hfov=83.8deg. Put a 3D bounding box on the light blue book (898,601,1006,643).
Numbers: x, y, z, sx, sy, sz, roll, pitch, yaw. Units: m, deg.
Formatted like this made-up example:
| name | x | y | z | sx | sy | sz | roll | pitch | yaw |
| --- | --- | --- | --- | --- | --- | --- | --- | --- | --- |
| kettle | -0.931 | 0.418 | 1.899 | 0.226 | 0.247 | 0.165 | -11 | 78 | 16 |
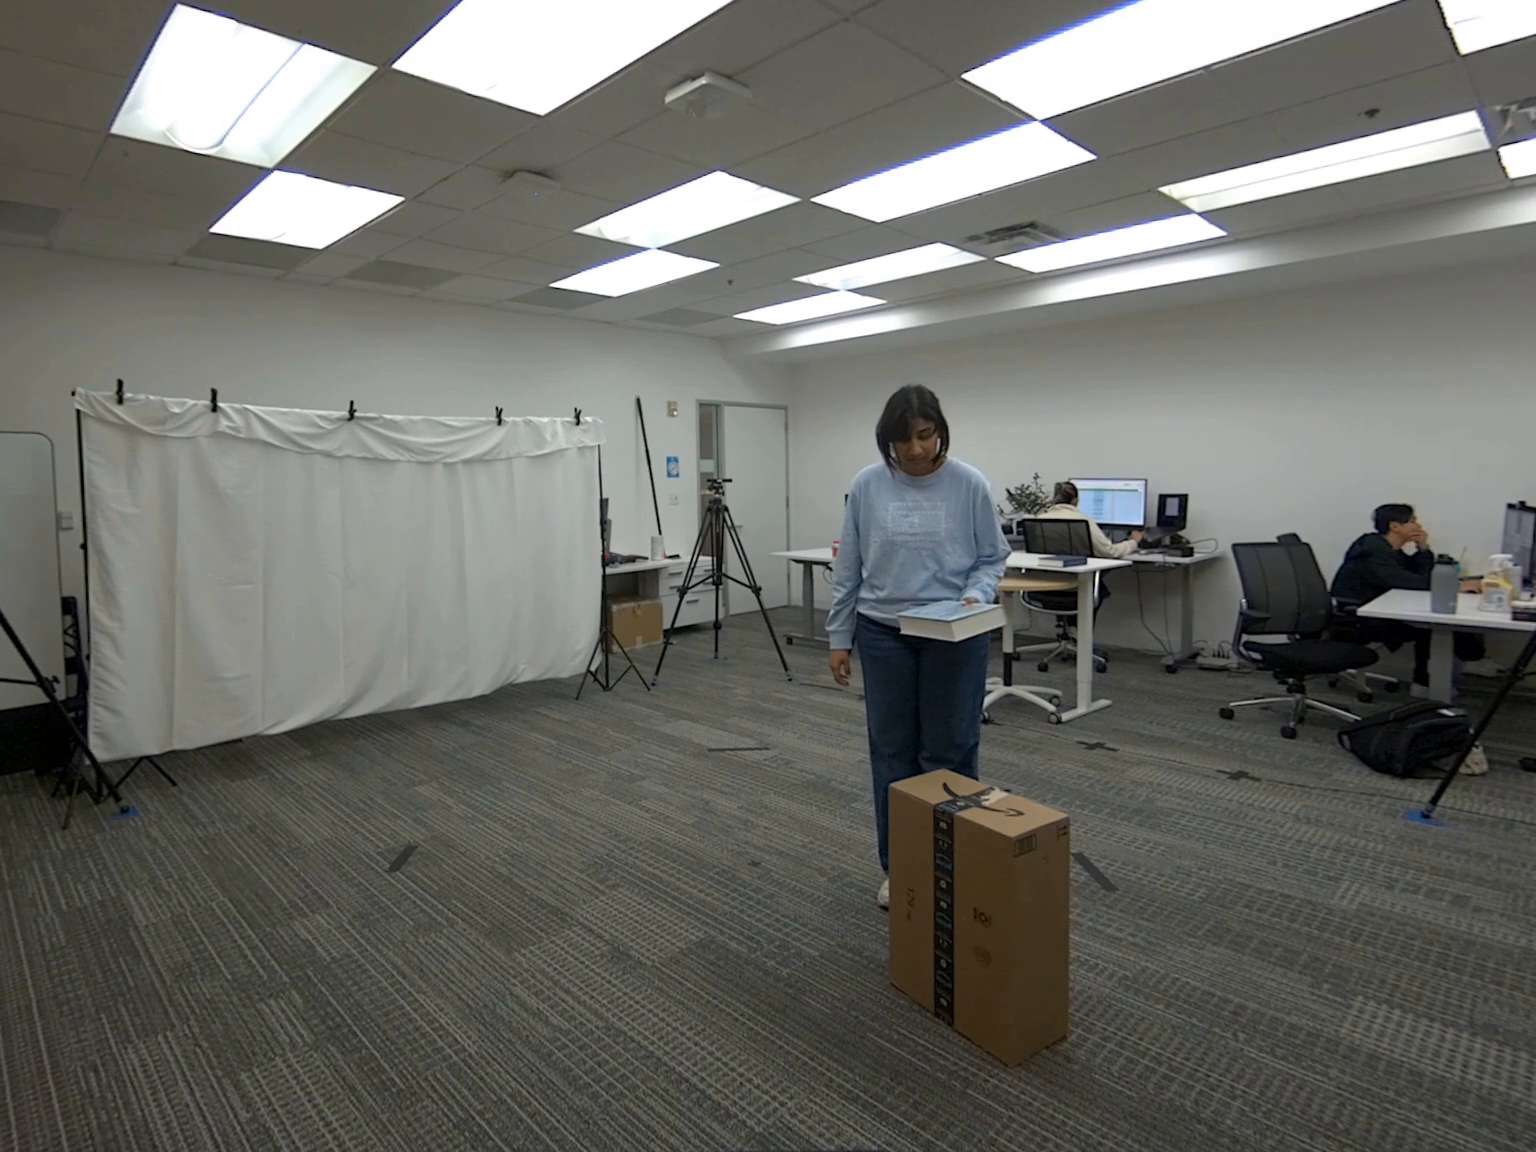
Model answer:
| name | x | y | z | sx | sy | sz | roll | pitch | yaw |
| --- | --- | --- | --- | --- | --- | --- | --- | --- | --- |
| light blue book | 0.527 | 0.129 | 2.456 | 0.188 | 0.059 | 0.266 | -14 | 7 | -23 |
